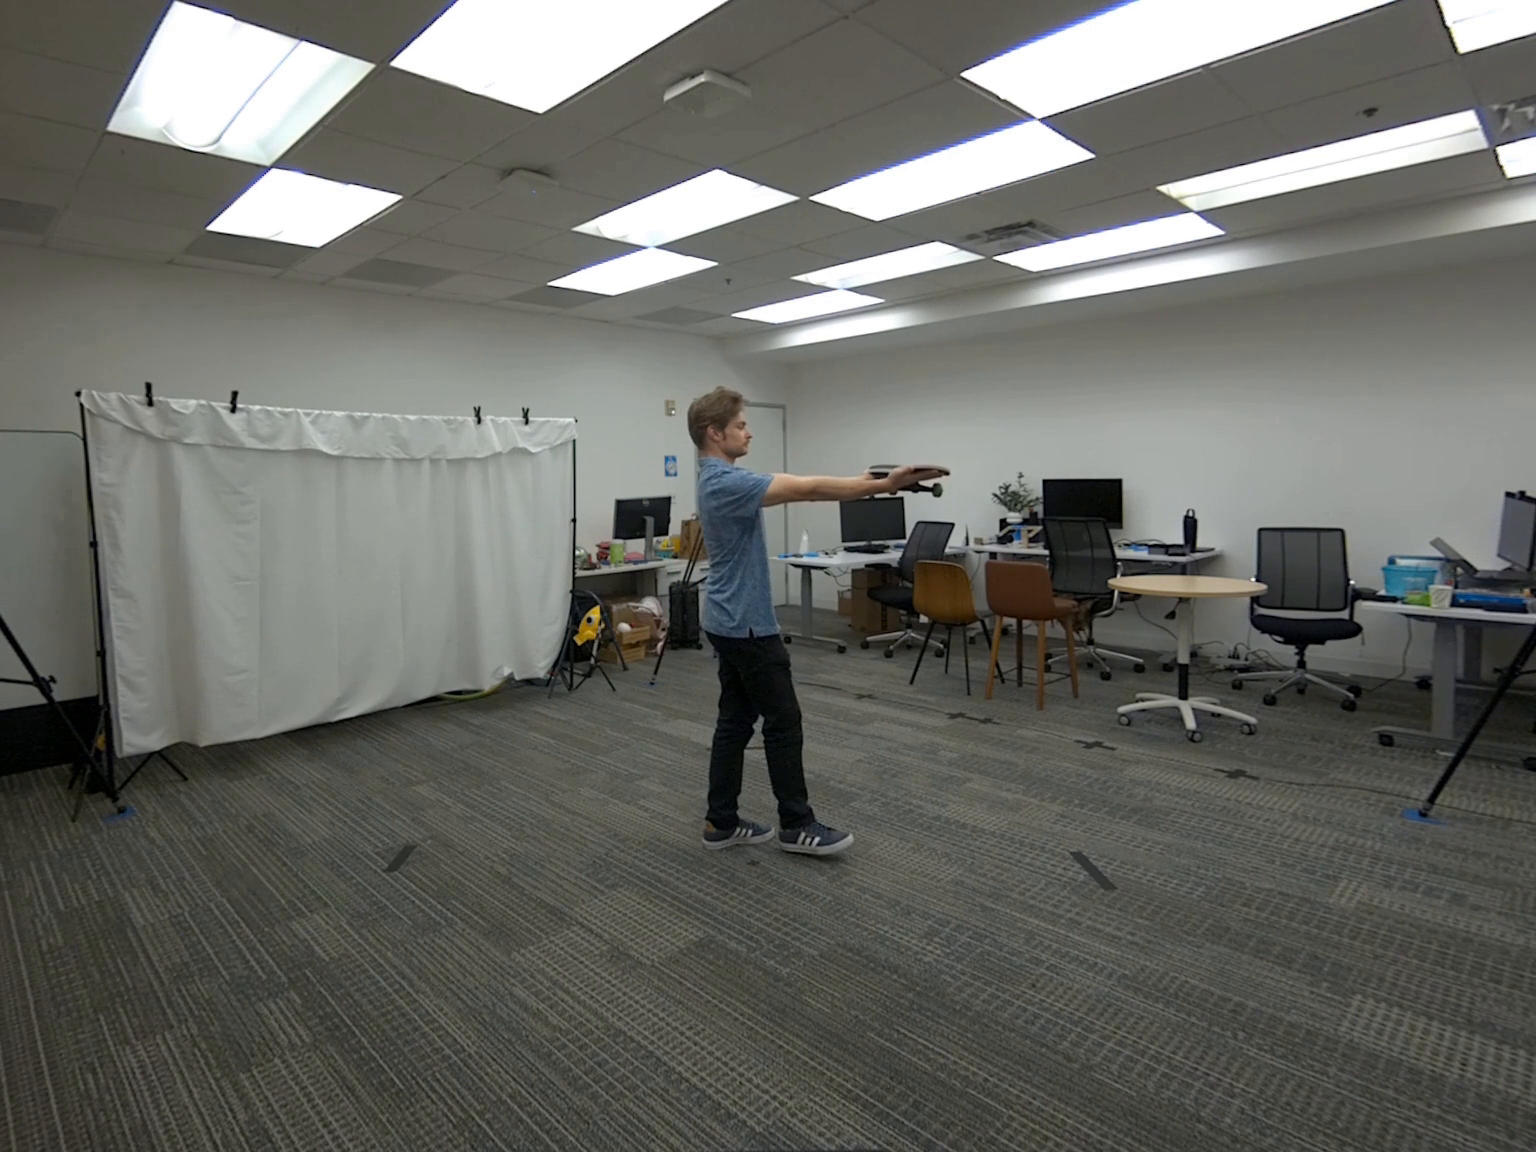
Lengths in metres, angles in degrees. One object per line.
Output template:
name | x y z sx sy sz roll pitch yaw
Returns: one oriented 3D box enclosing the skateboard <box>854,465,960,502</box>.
skateboard | 0.487 -0.353 3.170 0.193 0.109 0.793 -1 8 -5
